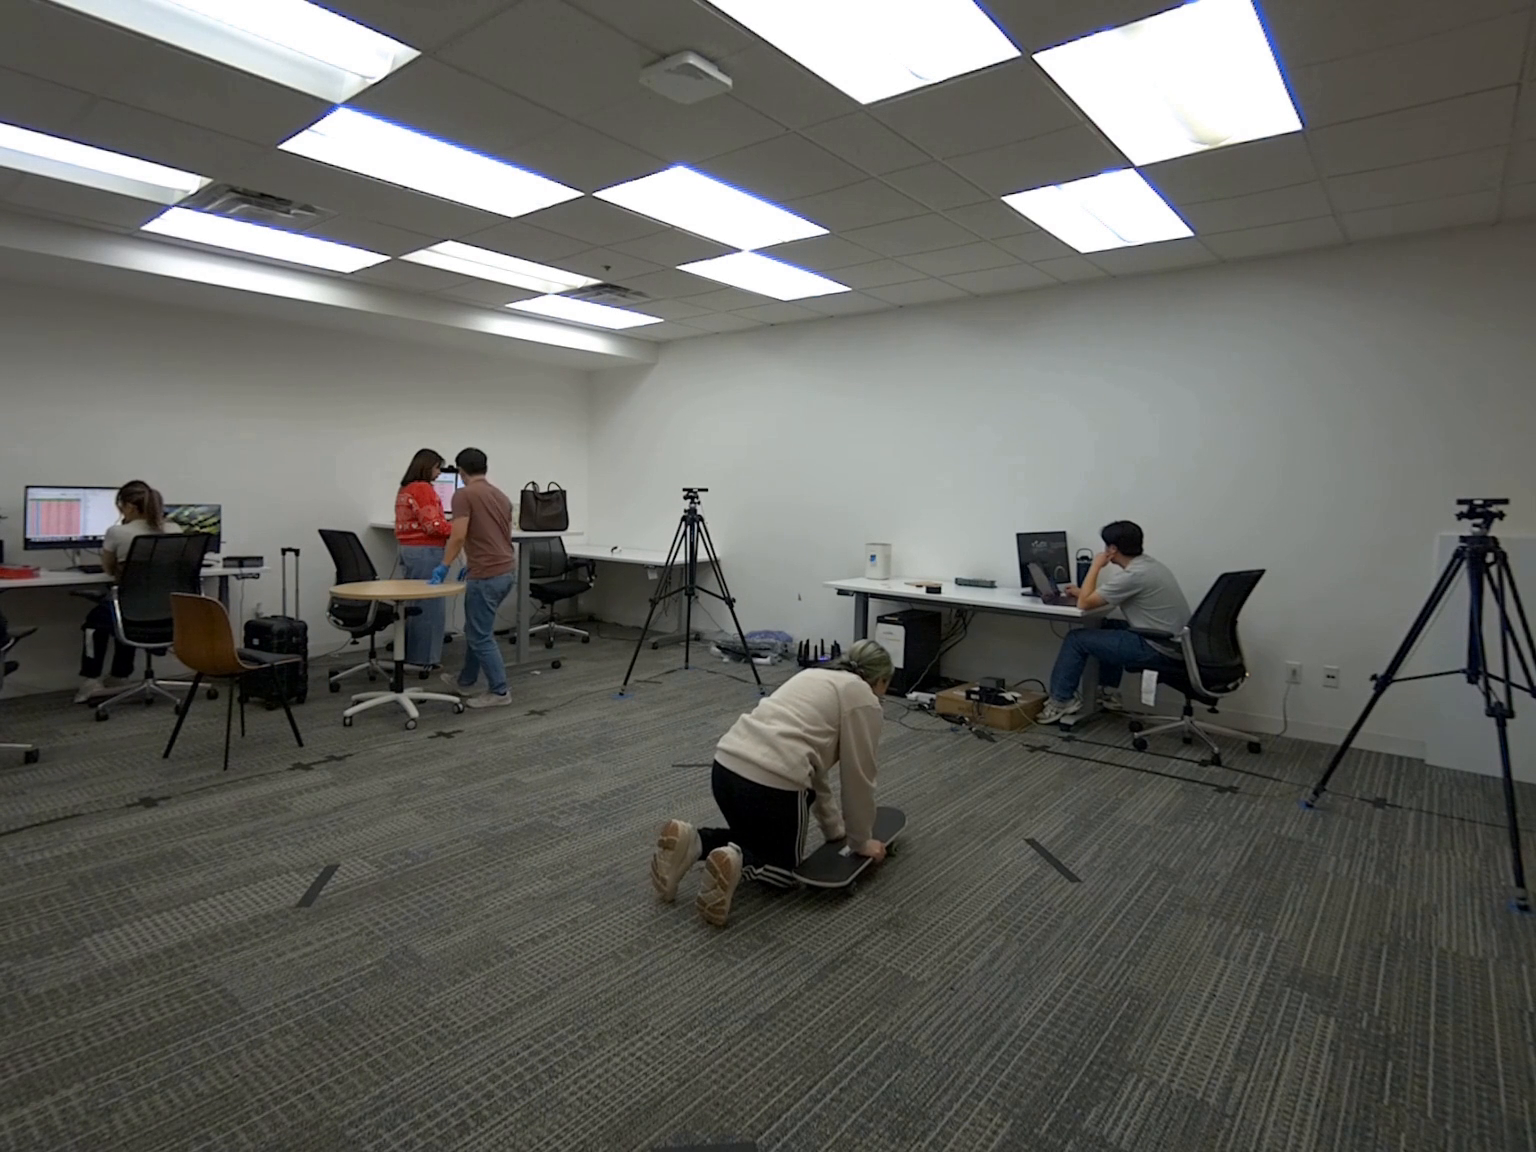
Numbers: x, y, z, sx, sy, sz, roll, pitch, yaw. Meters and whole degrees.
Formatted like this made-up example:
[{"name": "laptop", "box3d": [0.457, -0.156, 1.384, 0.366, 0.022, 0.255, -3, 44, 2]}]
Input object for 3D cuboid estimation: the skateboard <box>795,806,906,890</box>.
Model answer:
[{"name": "skateboard", "box3d": [0.311, 1.026, 3.146, 0.199, 0.110, 0.766, 4, 7, 29]}]
